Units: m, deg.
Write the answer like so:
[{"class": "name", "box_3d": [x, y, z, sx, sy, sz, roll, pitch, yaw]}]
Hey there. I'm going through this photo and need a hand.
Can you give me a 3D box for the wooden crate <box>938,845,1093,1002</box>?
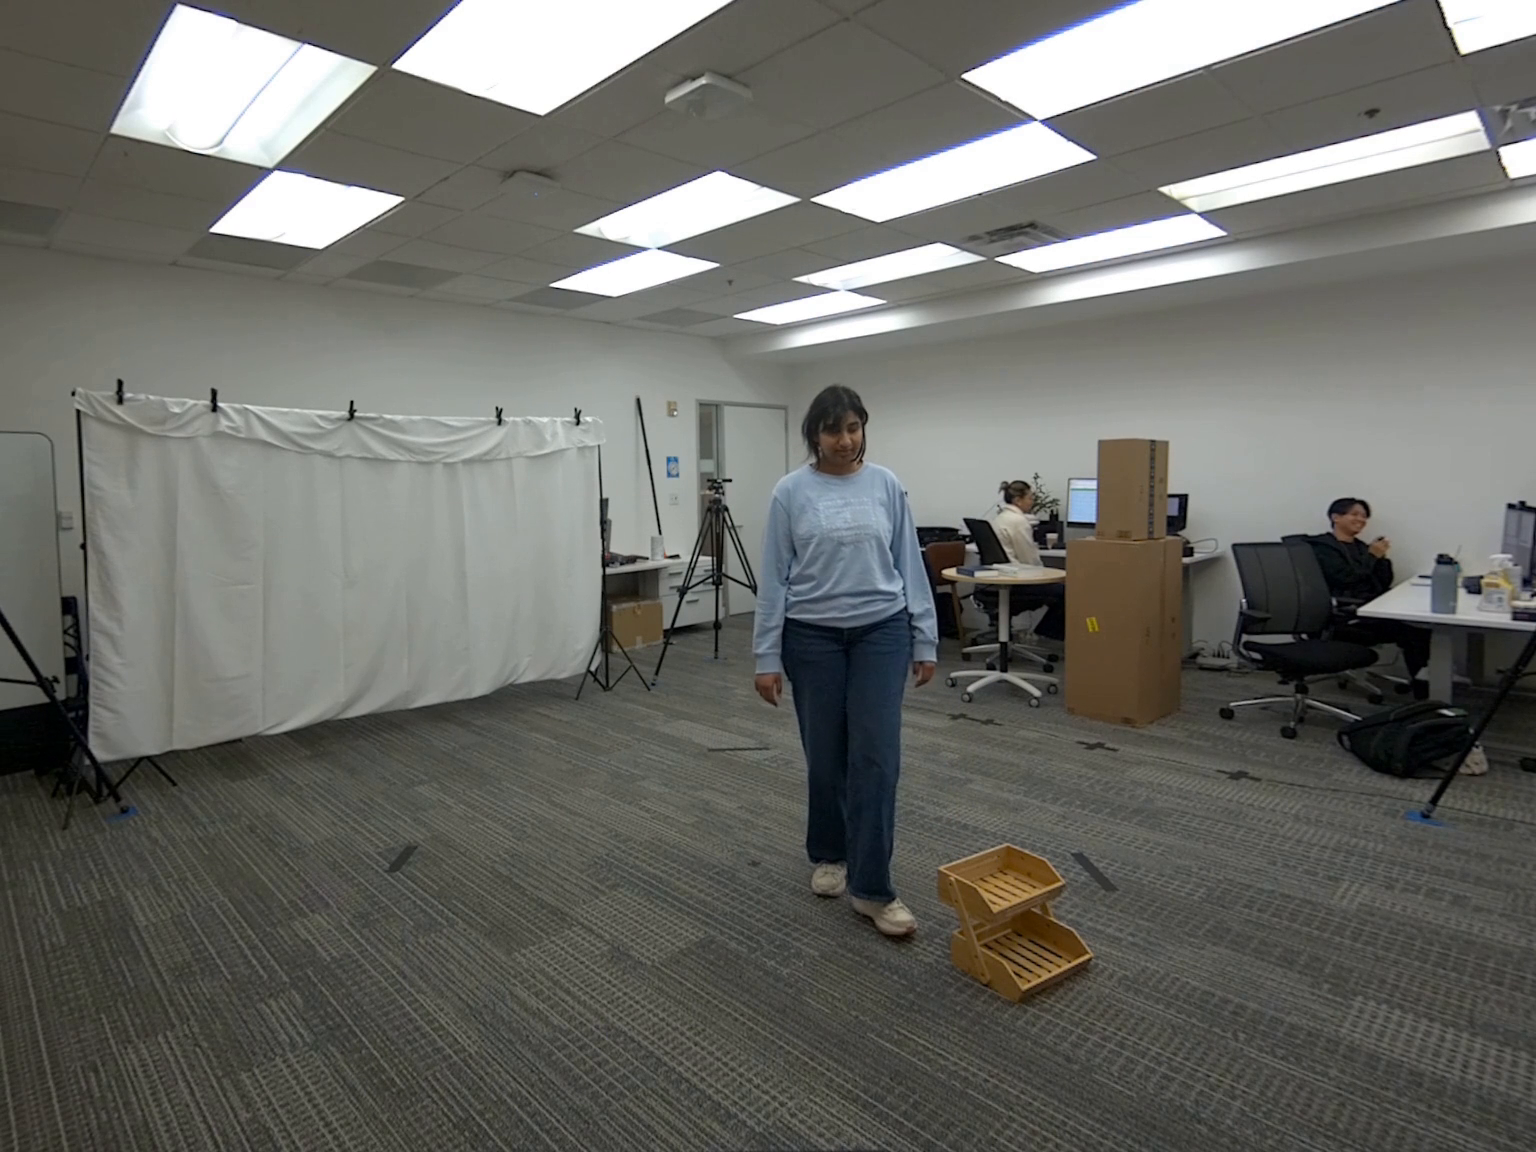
[{"class": "wooden crate", "box_3d": [0.717, 0.982, 2.427, 0.316, 0.272, 0.311, -5, 6, -33]}]
